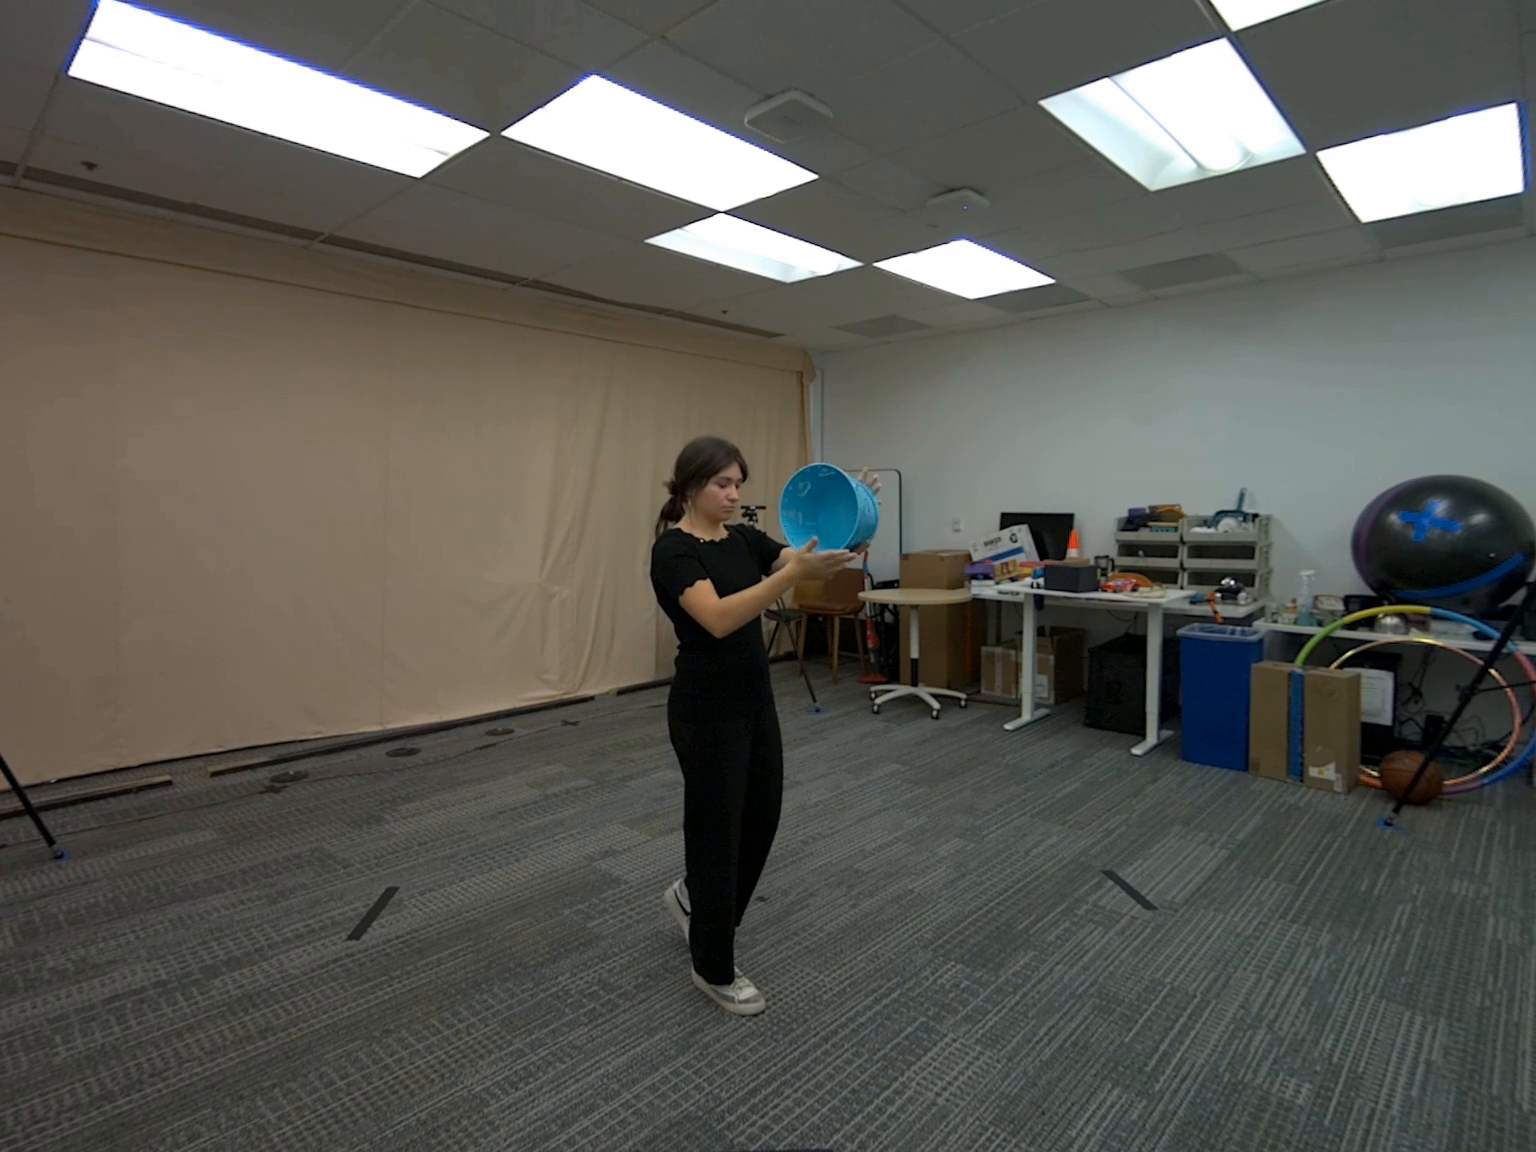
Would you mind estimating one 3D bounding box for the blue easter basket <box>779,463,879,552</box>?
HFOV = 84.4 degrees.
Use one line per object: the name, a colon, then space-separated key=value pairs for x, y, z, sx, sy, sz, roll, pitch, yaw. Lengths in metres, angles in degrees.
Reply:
blue easter basket: x=0.165 y=-0.150 z=2.127 sx=0.251 sy=0.244 sz=0.151 roll=3 pitch=-1 yaw=37
